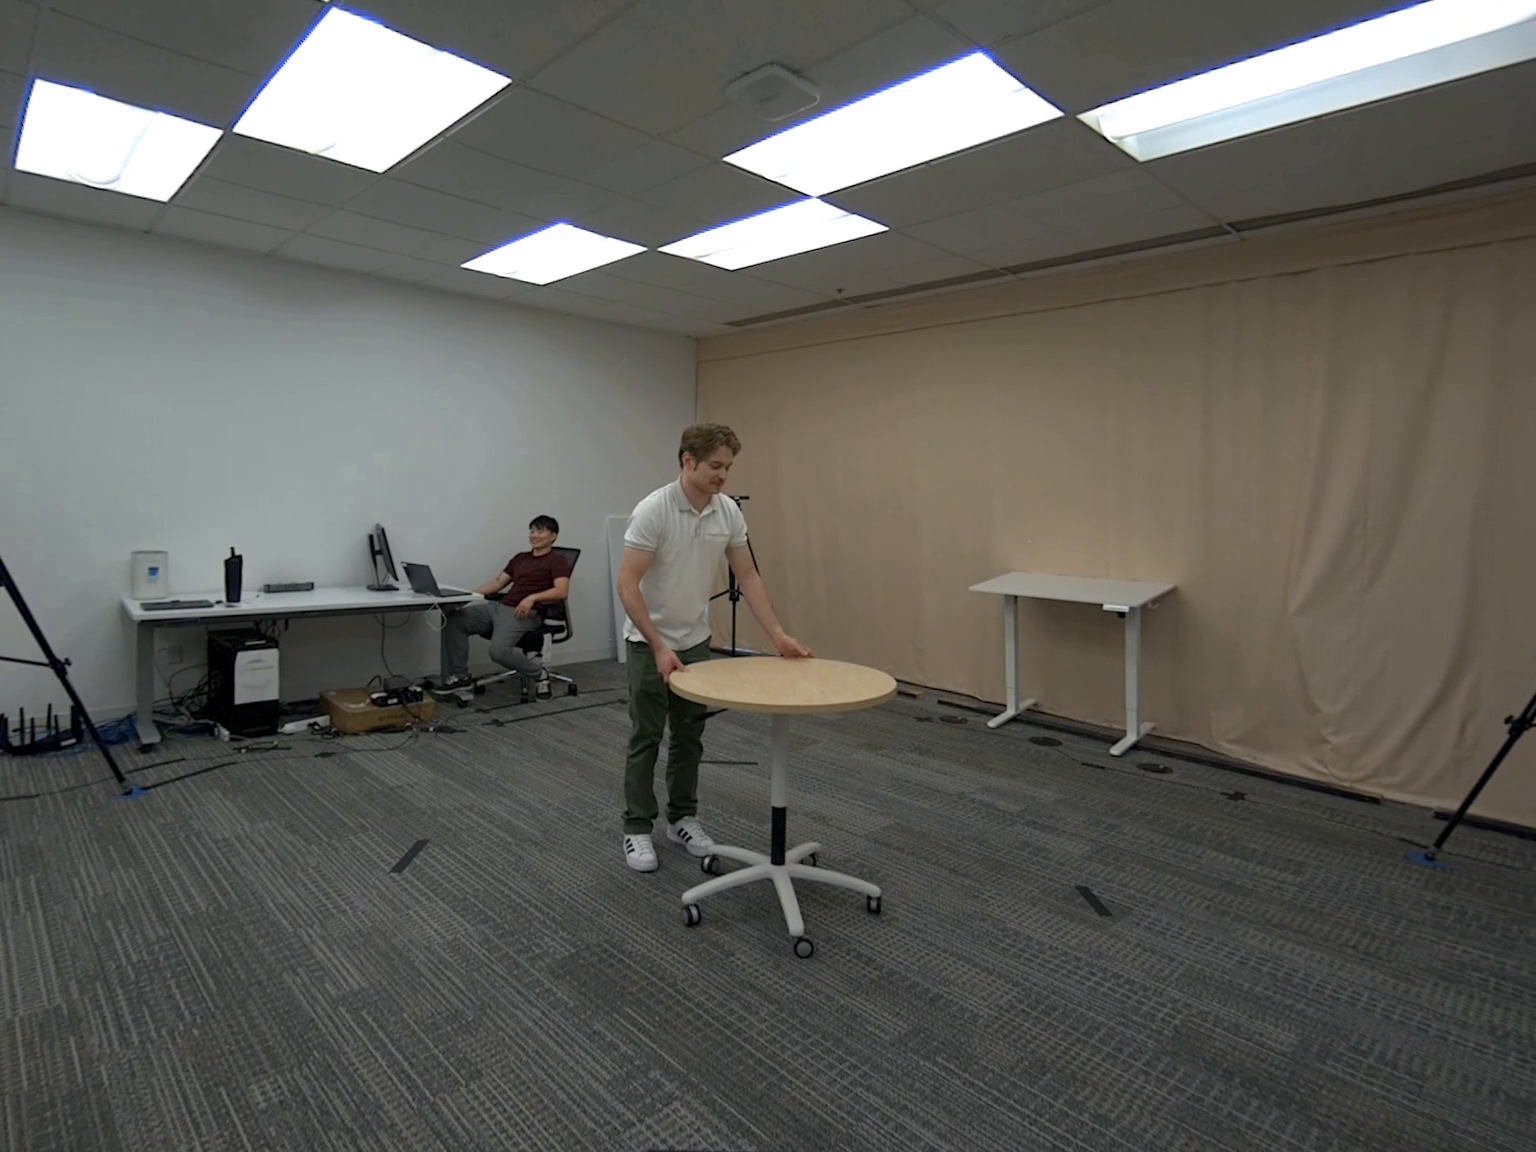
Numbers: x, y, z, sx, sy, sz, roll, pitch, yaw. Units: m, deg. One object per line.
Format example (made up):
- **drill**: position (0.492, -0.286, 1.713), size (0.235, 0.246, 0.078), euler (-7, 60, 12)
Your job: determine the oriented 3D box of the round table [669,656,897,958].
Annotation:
- **round table**: position (0.039, 0.739, 2.877), size (0.763, 0.792, 0.767), euler (1, 4, -1)
